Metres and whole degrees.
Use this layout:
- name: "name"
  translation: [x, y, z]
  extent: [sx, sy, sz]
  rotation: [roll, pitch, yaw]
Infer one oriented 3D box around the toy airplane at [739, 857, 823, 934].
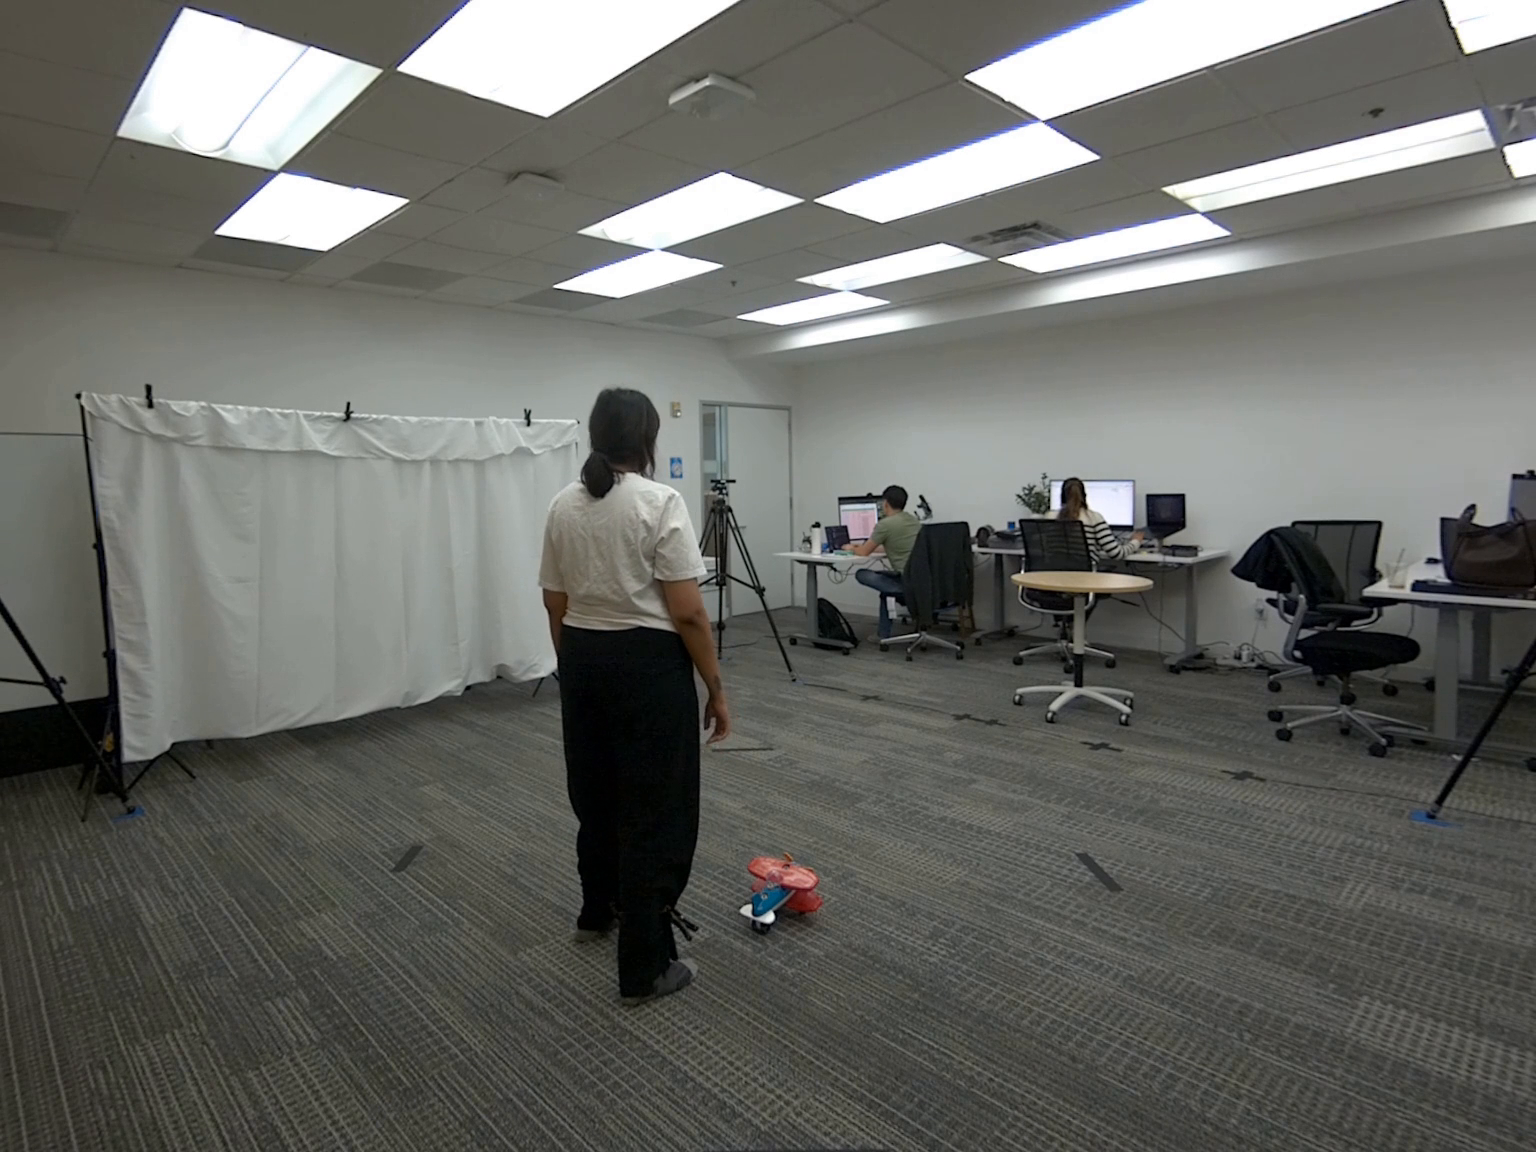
- name: "toy airplane"
  translation: [0.051, 1.014, 2.706]
  extent: [0.254, 0.156, 0.257]
  rotation: [1, 5, 10]
